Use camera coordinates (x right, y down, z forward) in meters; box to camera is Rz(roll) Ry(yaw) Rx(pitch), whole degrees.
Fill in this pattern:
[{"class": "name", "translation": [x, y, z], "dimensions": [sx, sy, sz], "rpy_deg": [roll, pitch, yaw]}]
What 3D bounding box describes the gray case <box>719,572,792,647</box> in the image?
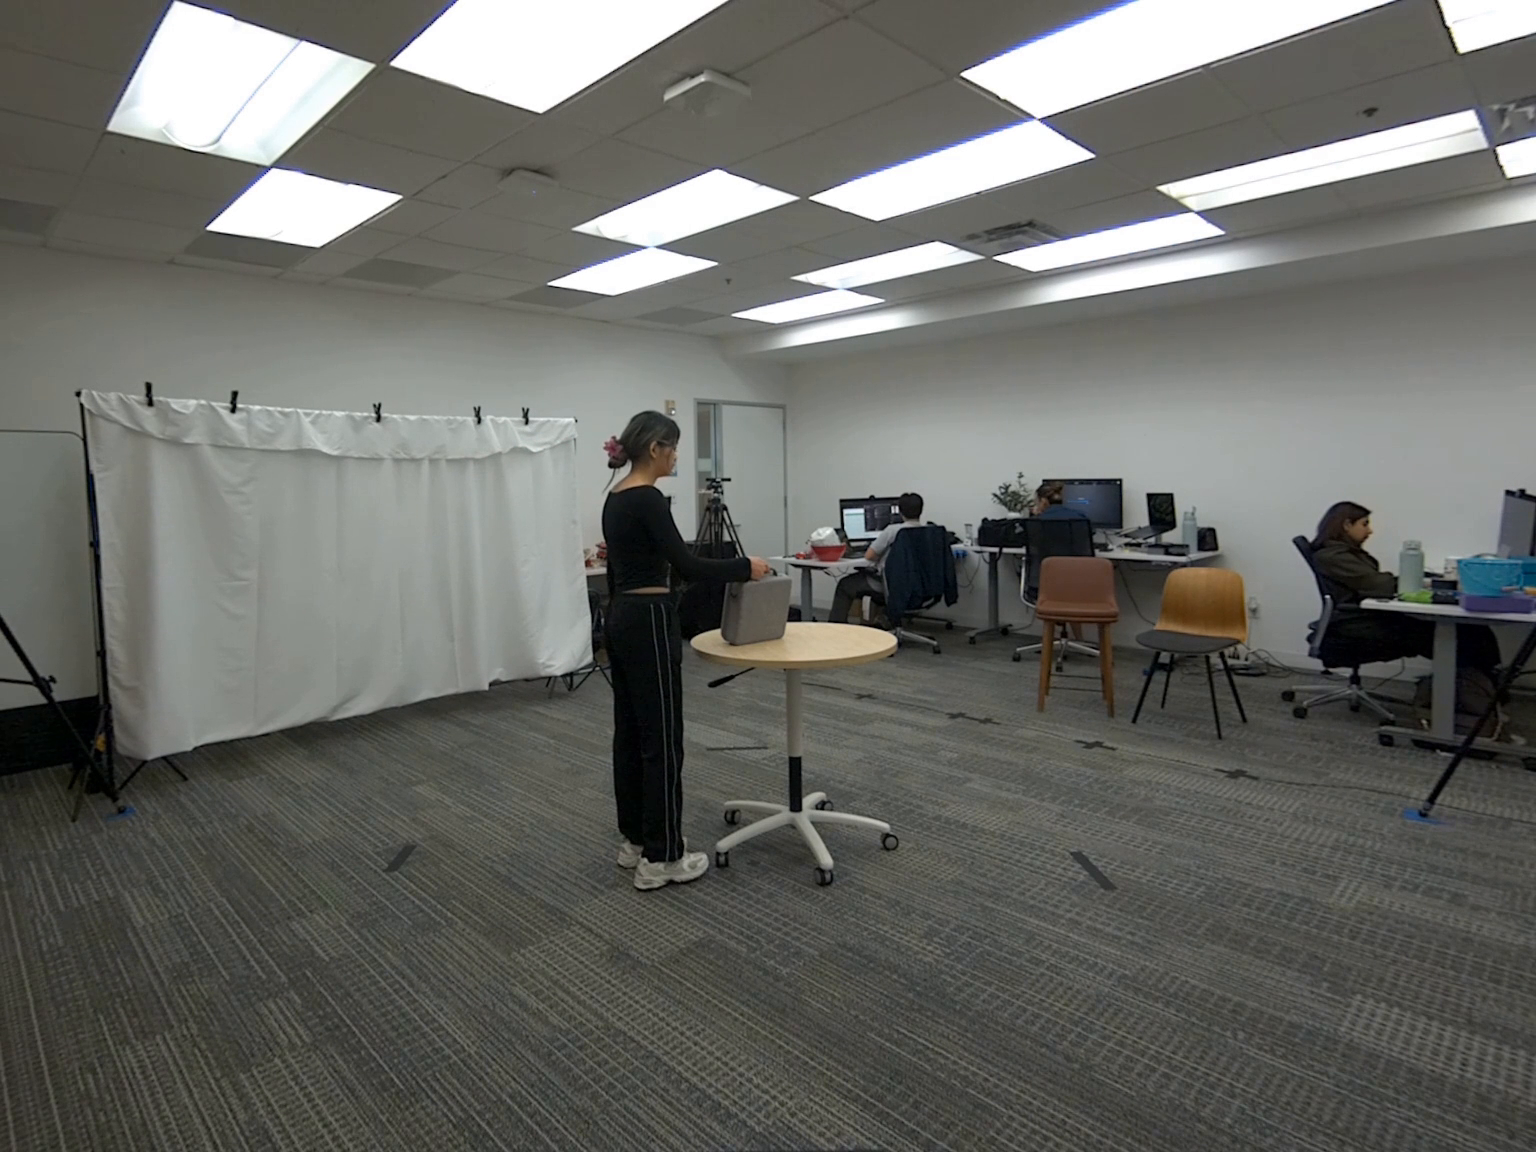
[{"class": "gray case", "translation": [-0.042, 0.113, 3.155], "dimensions": [0.250, 0.258, 0.108], "rpy_deg": [-5, 17, -36]}]
